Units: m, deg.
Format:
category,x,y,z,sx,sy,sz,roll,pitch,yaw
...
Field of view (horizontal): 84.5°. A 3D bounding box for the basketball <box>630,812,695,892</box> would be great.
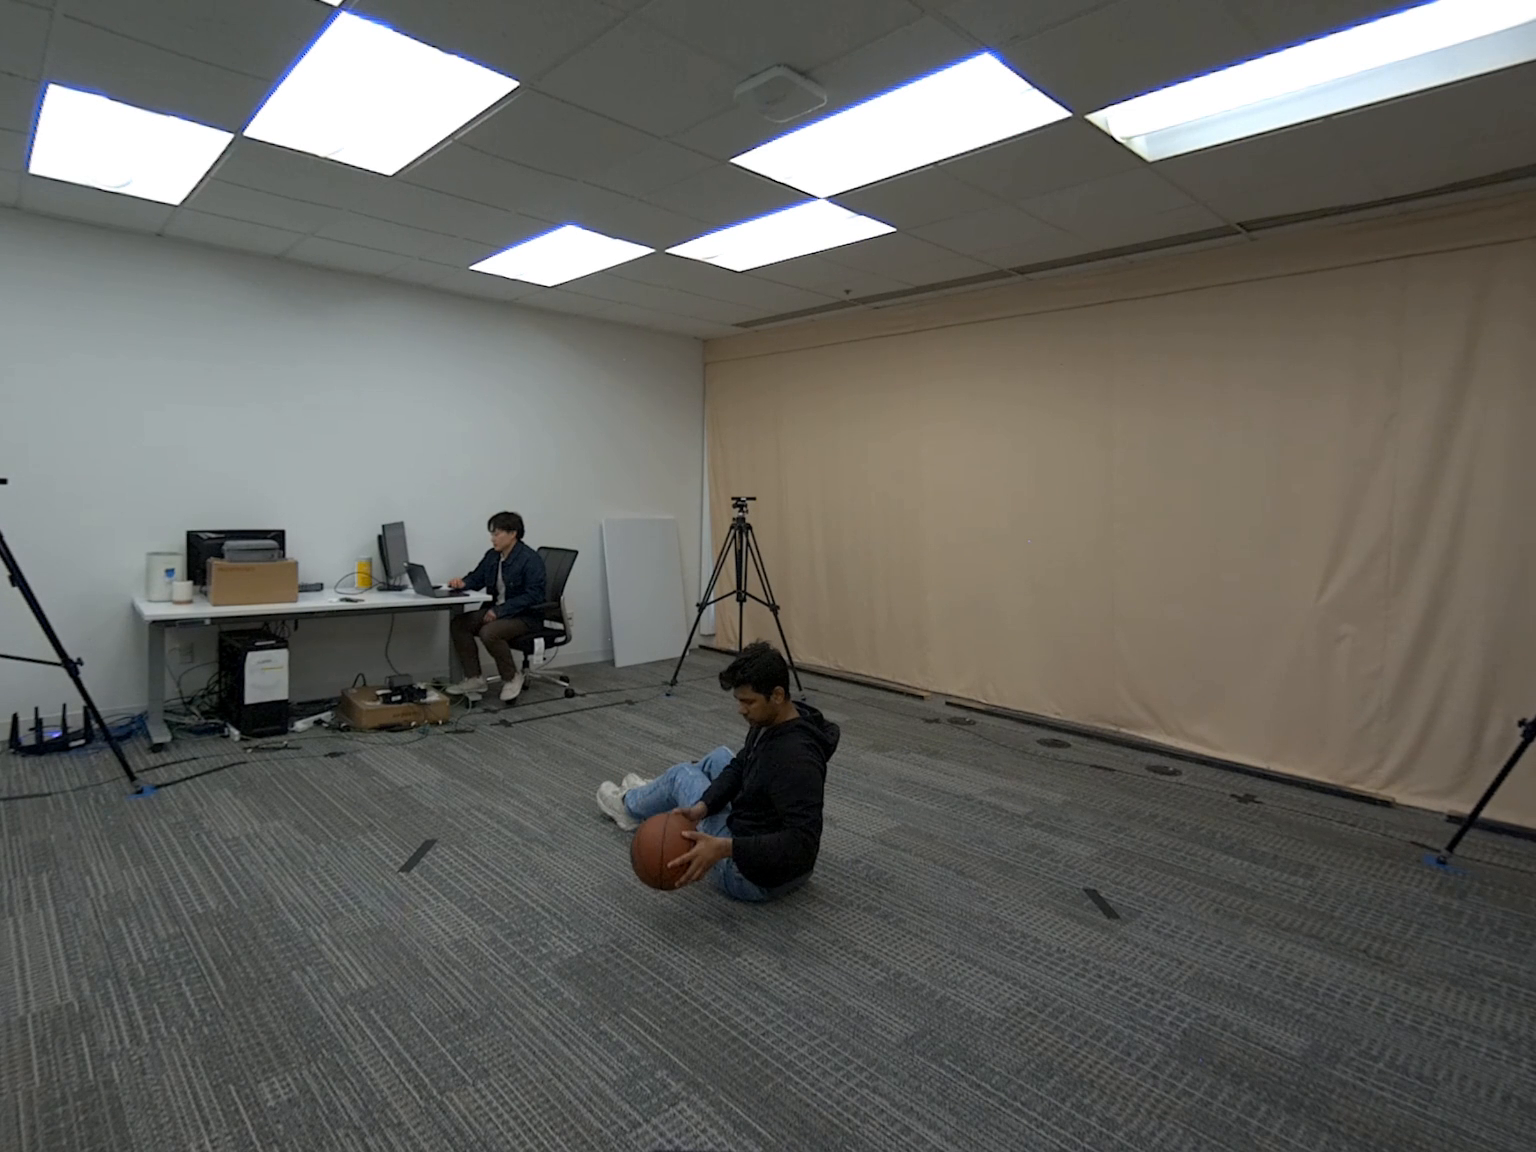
category,x,y,z,sx,sy,sz,roll,pitch,yaw
basketball,-0.329,0.885,2.744,0.236,0.235,0.237,1,4,-1
